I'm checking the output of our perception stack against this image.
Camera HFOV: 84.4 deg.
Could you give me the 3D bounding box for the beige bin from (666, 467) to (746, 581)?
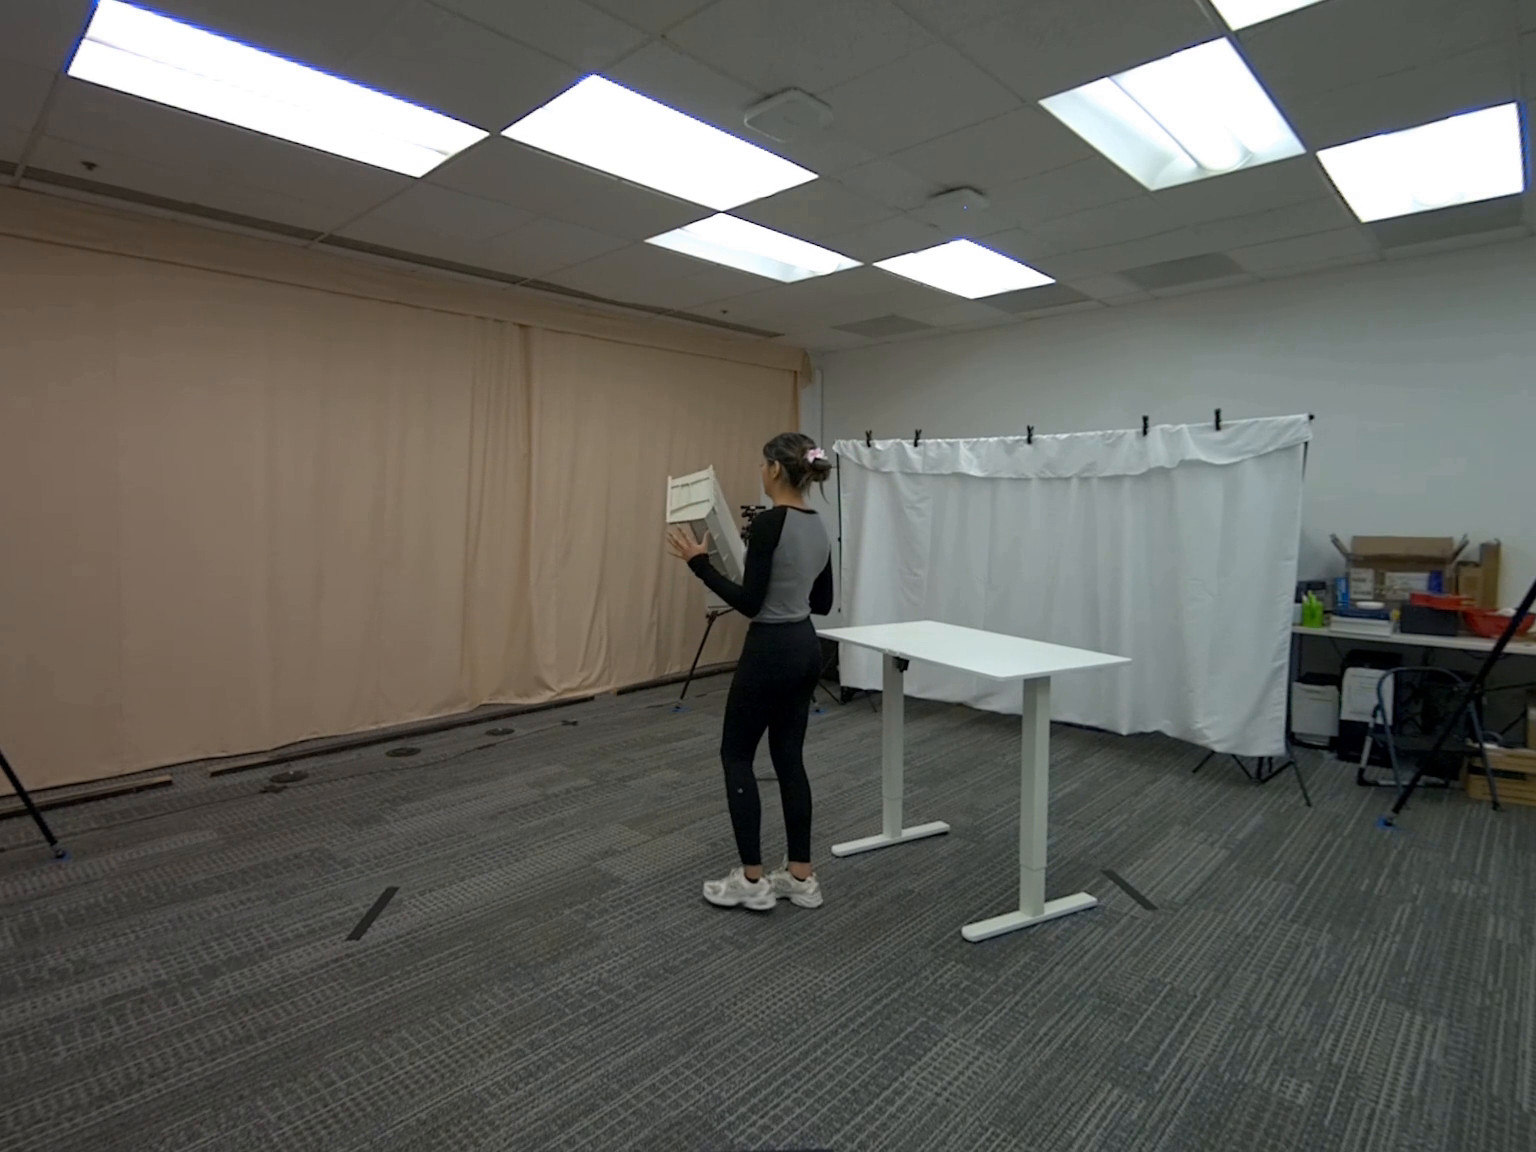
[{"bbox_3d":[-0.217,-0.138,3.178,0.190,0.411,0.385,-17,34,4],"label":"beige bin"}]
